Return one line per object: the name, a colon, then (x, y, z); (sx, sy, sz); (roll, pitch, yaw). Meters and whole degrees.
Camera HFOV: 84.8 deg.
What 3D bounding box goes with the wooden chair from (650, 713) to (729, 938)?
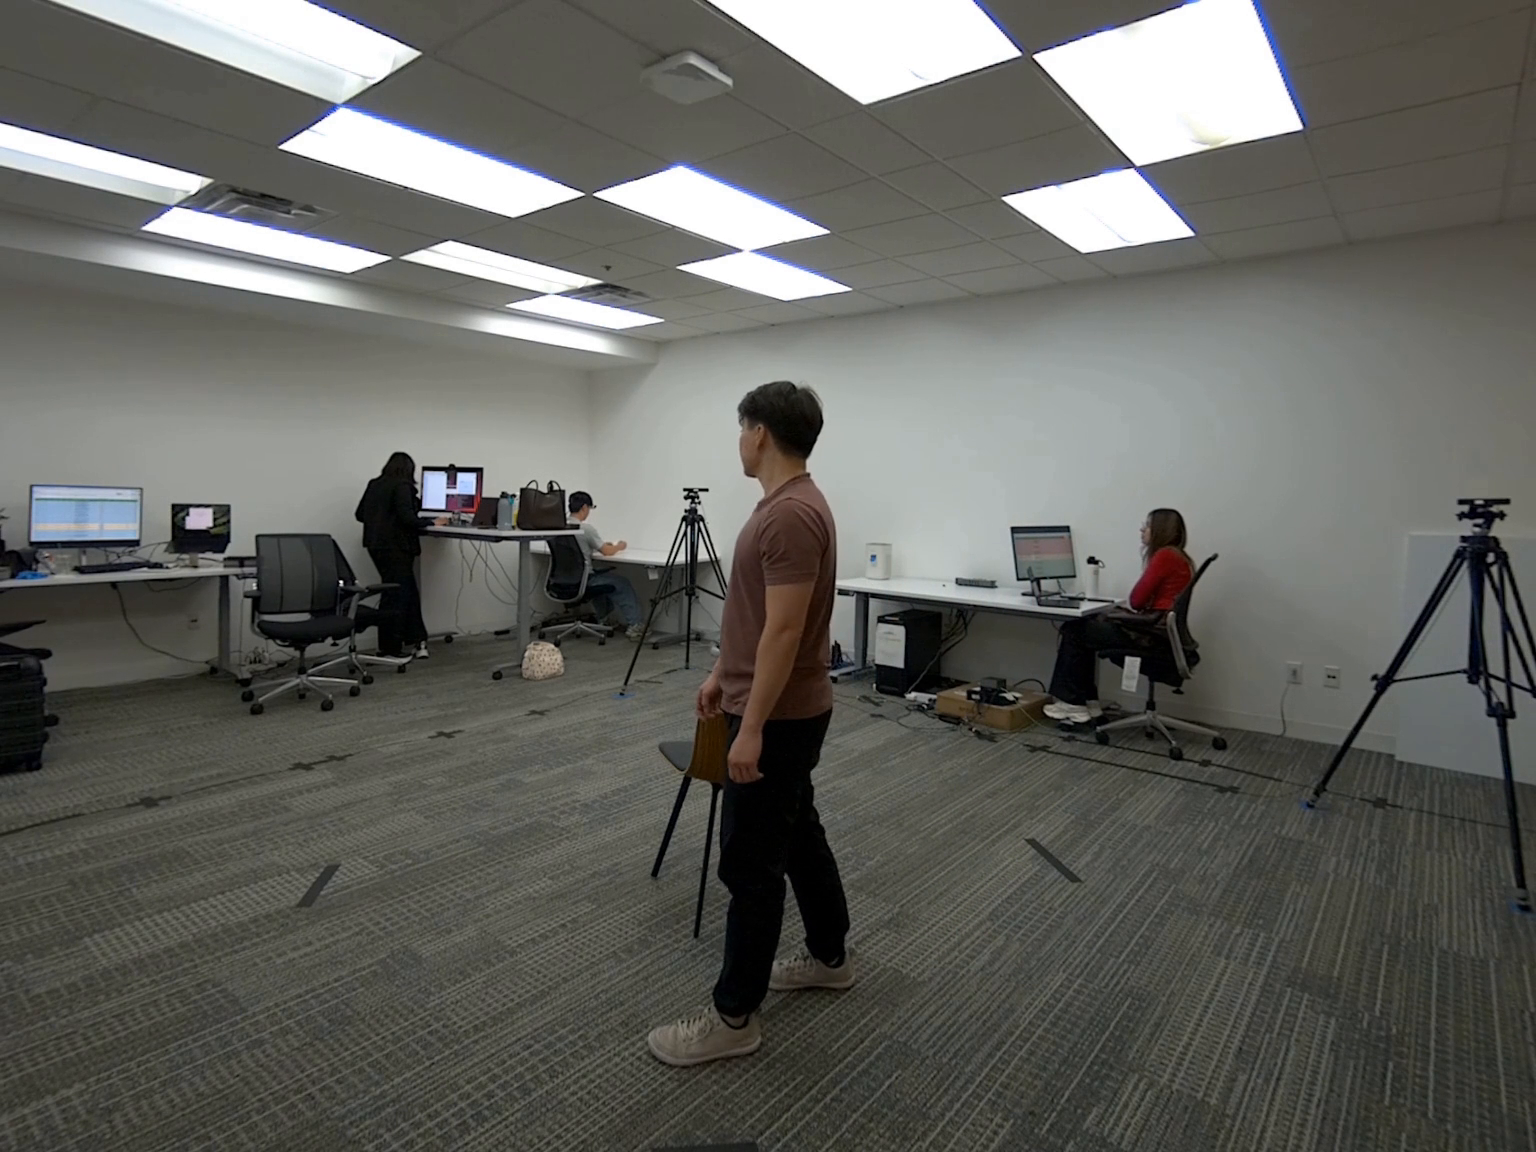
wooden chair: (-0.120, 0.664, 2.891); (0.467, 0.872, 0.538); (0, 8, -23)
